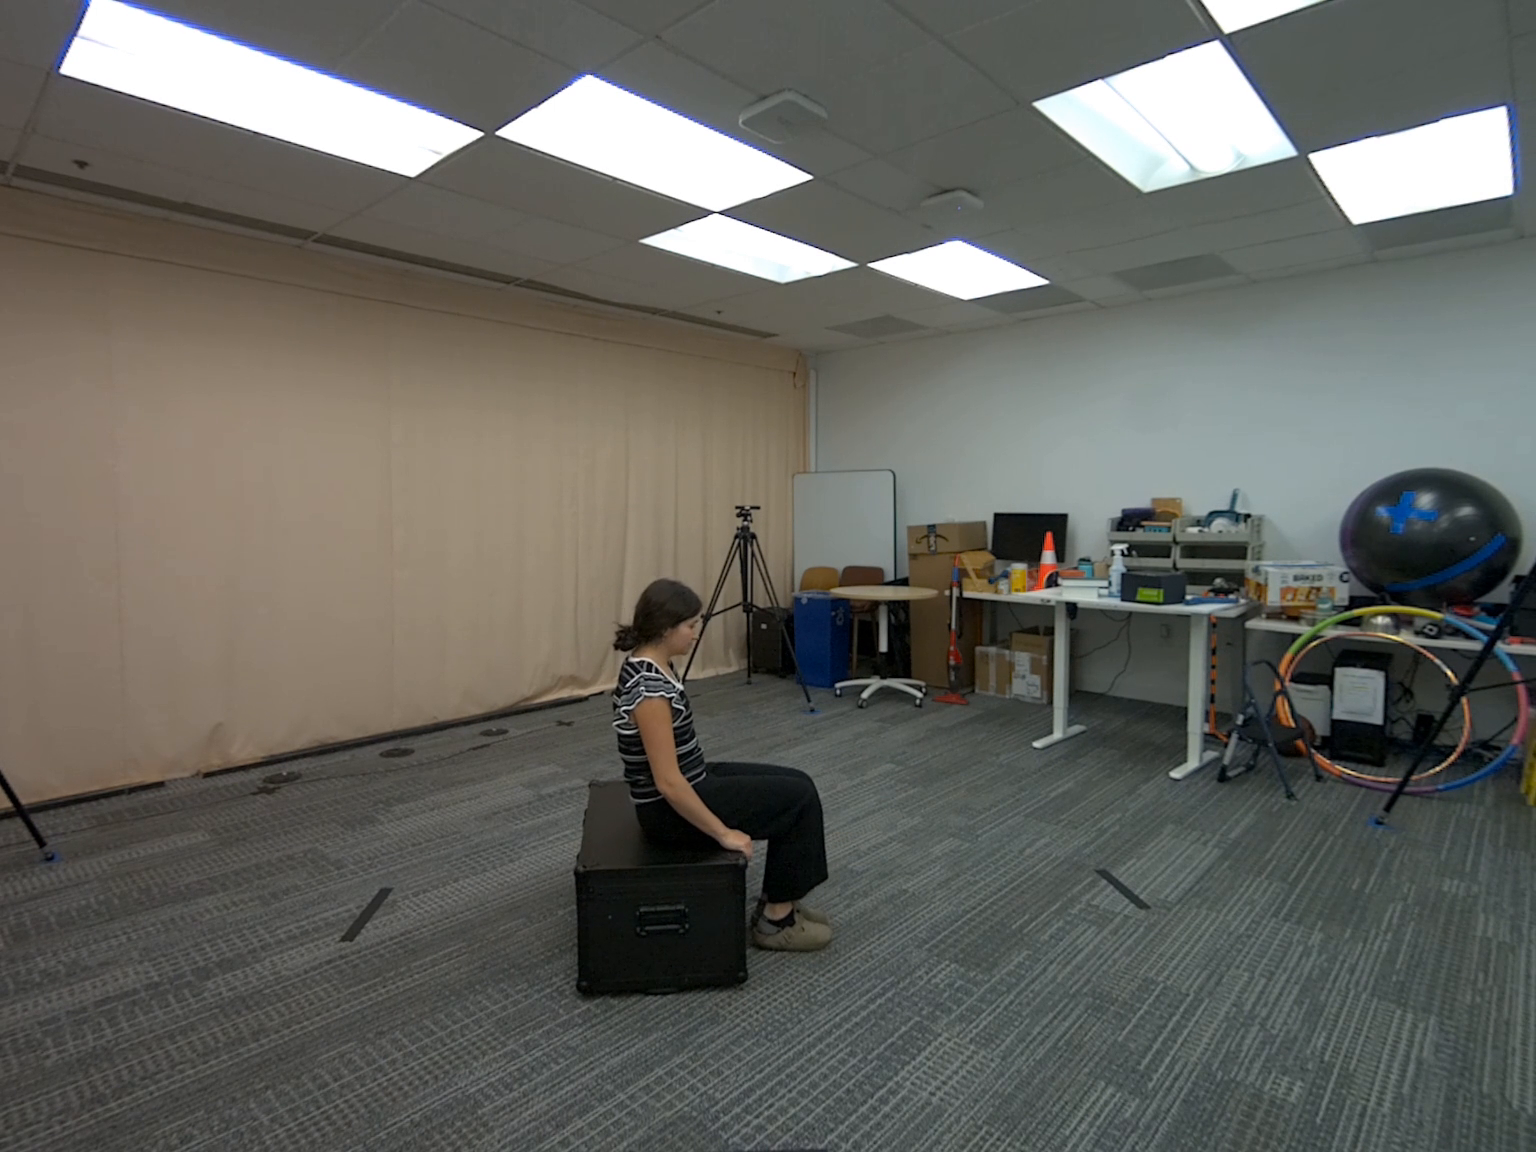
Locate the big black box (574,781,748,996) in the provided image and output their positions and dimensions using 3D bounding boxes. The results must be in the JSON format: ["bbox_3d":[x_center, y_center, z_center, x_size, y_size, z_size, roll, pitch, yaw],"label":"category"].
[{"bbox_3d":[-0.360,0.969,2.803,0.517,0.395,0.871,-1,4,-9],"label":"big black box"}]
